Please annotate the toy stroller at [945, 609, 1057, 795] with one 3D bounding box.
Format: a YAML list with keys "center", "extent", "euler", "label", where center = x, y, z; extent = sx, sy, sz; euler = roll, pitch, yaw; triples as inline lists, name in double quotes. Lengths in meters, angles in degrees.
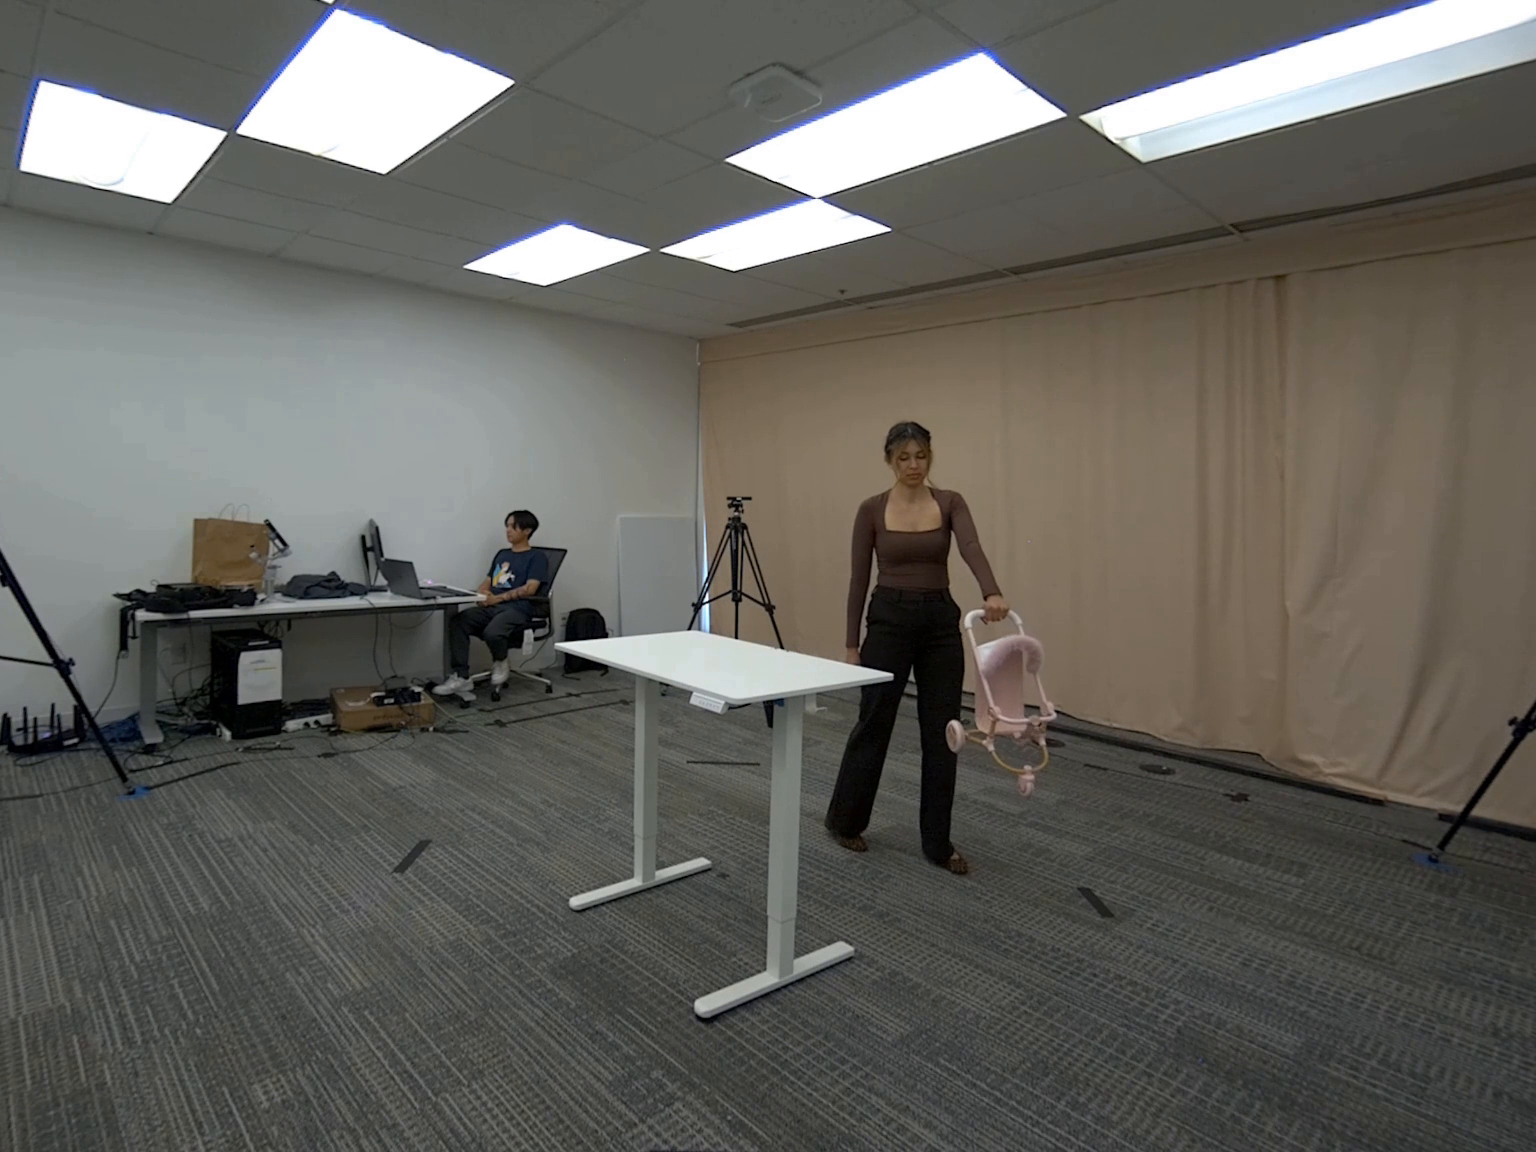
- center: [0.771, 0.412, 2.753]
  extent: [0.279, 0.531, 0.346]
  euler: [0, 11, -10]
  label: "toy stroller"
